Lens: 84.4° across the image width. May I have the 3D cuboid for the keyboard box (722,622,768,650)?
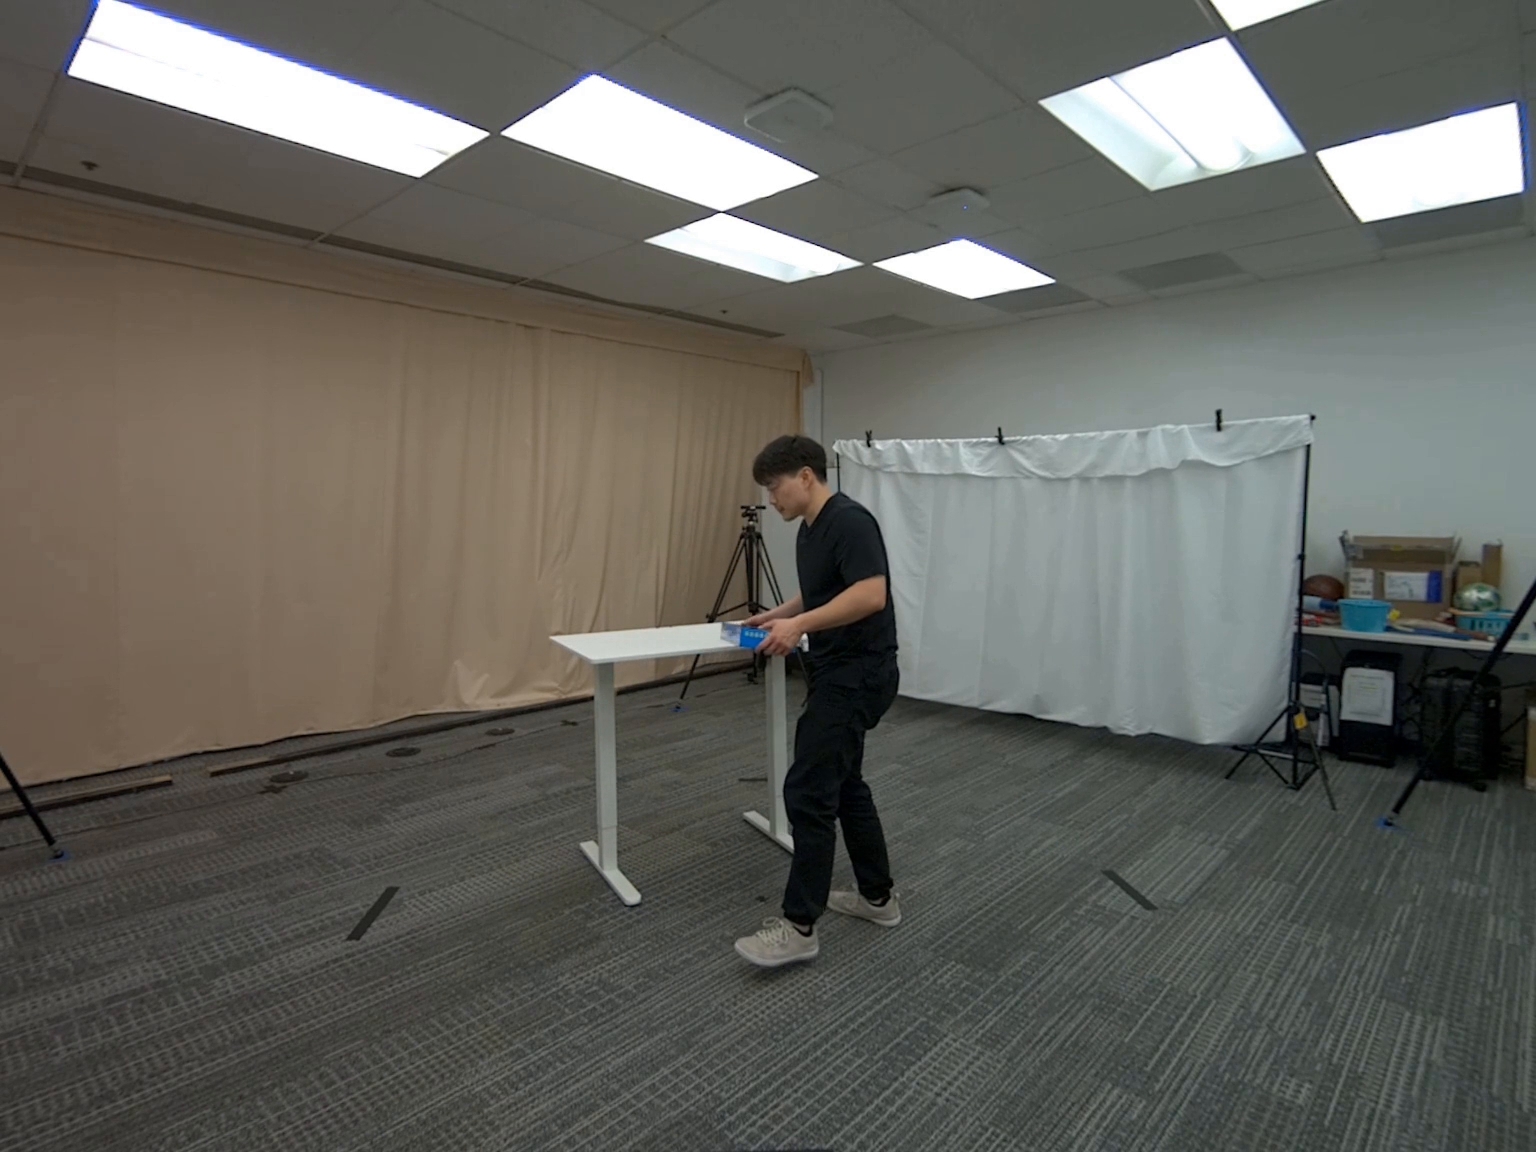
[{"bbox_3d":[-0.041,0.199,2.695,0.174,0.059,0.441,7,-2,-11],"label":"keyboard box"}]
